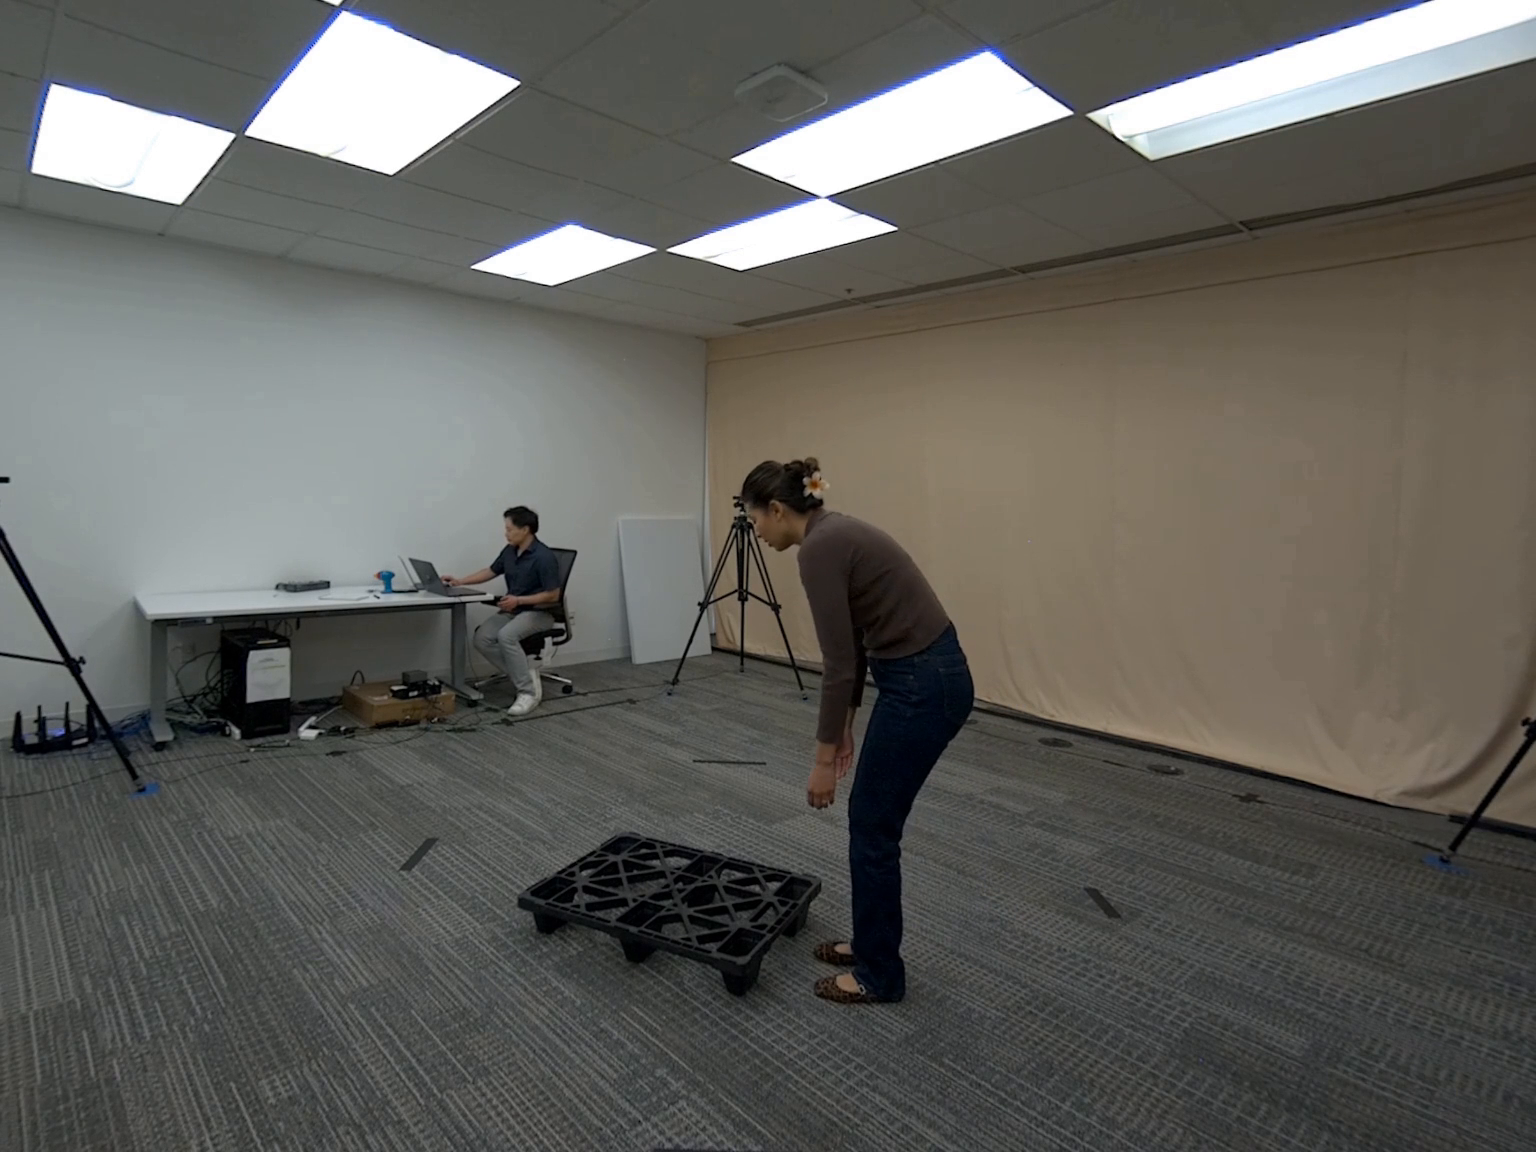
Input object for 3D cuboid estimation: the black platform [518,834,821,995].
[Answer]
[{"bbox_3d":[-0.307,1.069,2.708,0.822,0.143,0.595,3,6,26],"label":"black platform"}]
